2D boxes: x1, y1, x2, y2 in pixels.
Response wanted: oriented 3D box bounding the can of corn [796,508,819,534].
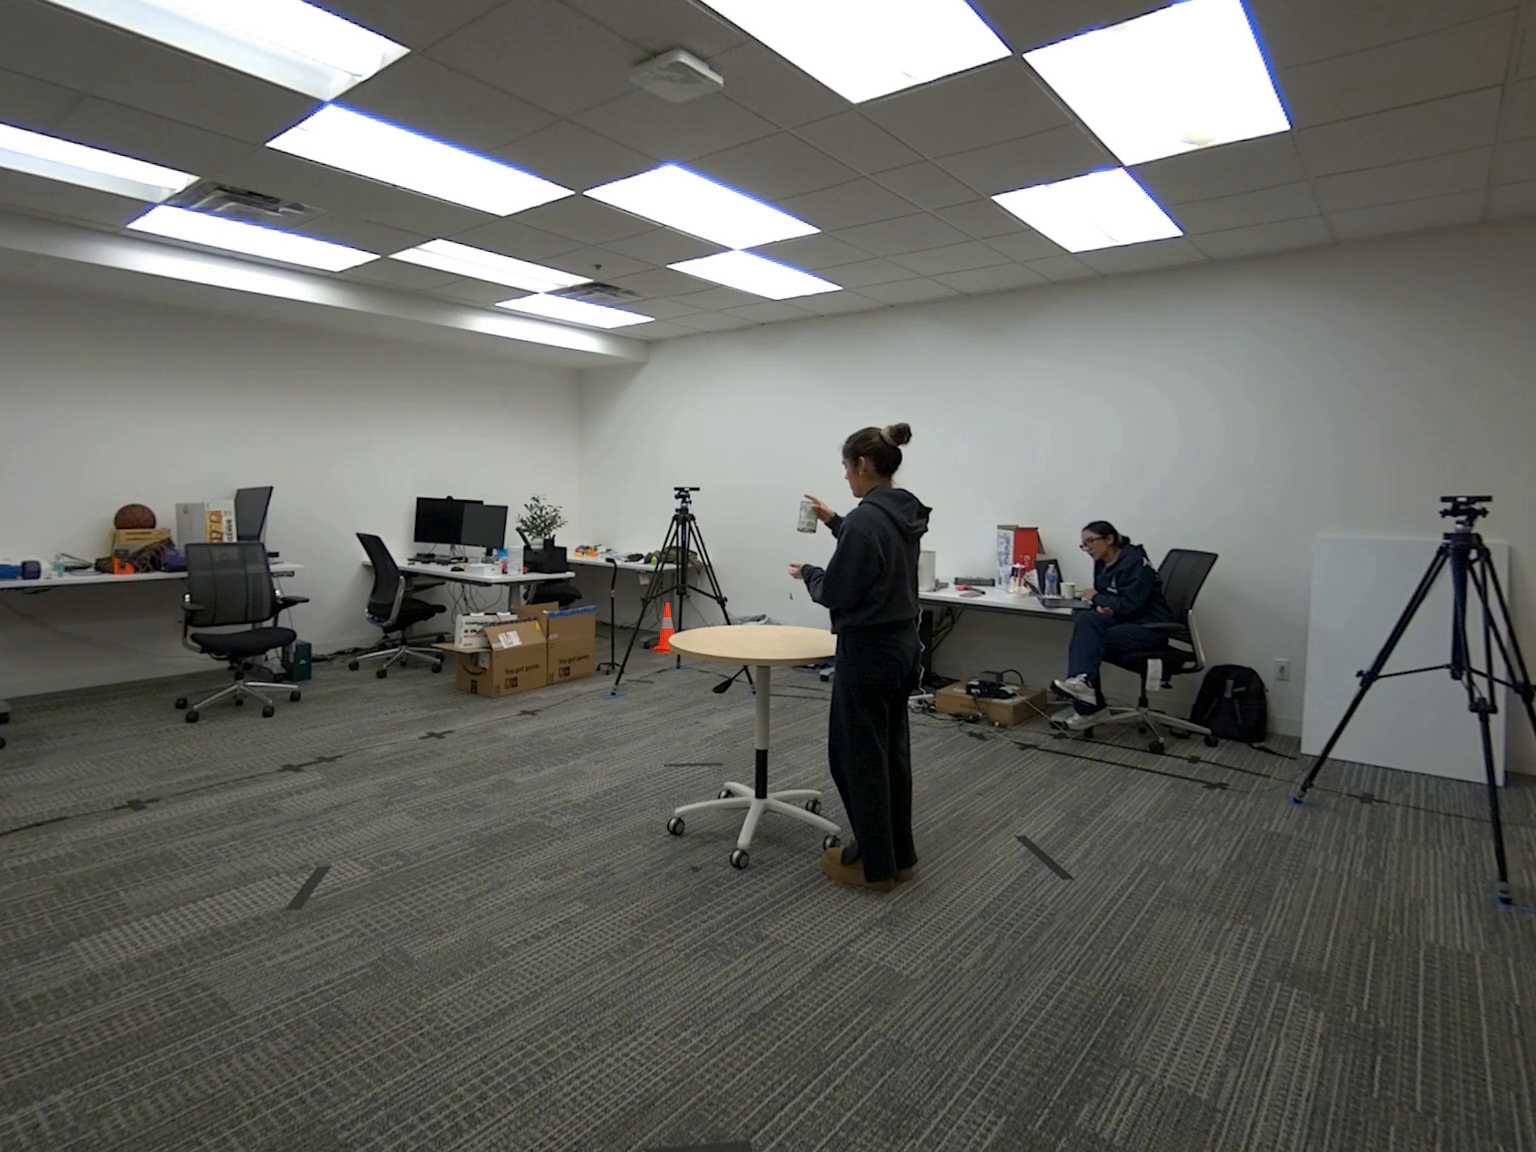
[{"bbox_3d":[0.142,-0.174,3.313,0.074,0.111,0.074,5,4,-2],"label":"can of corn"}]
